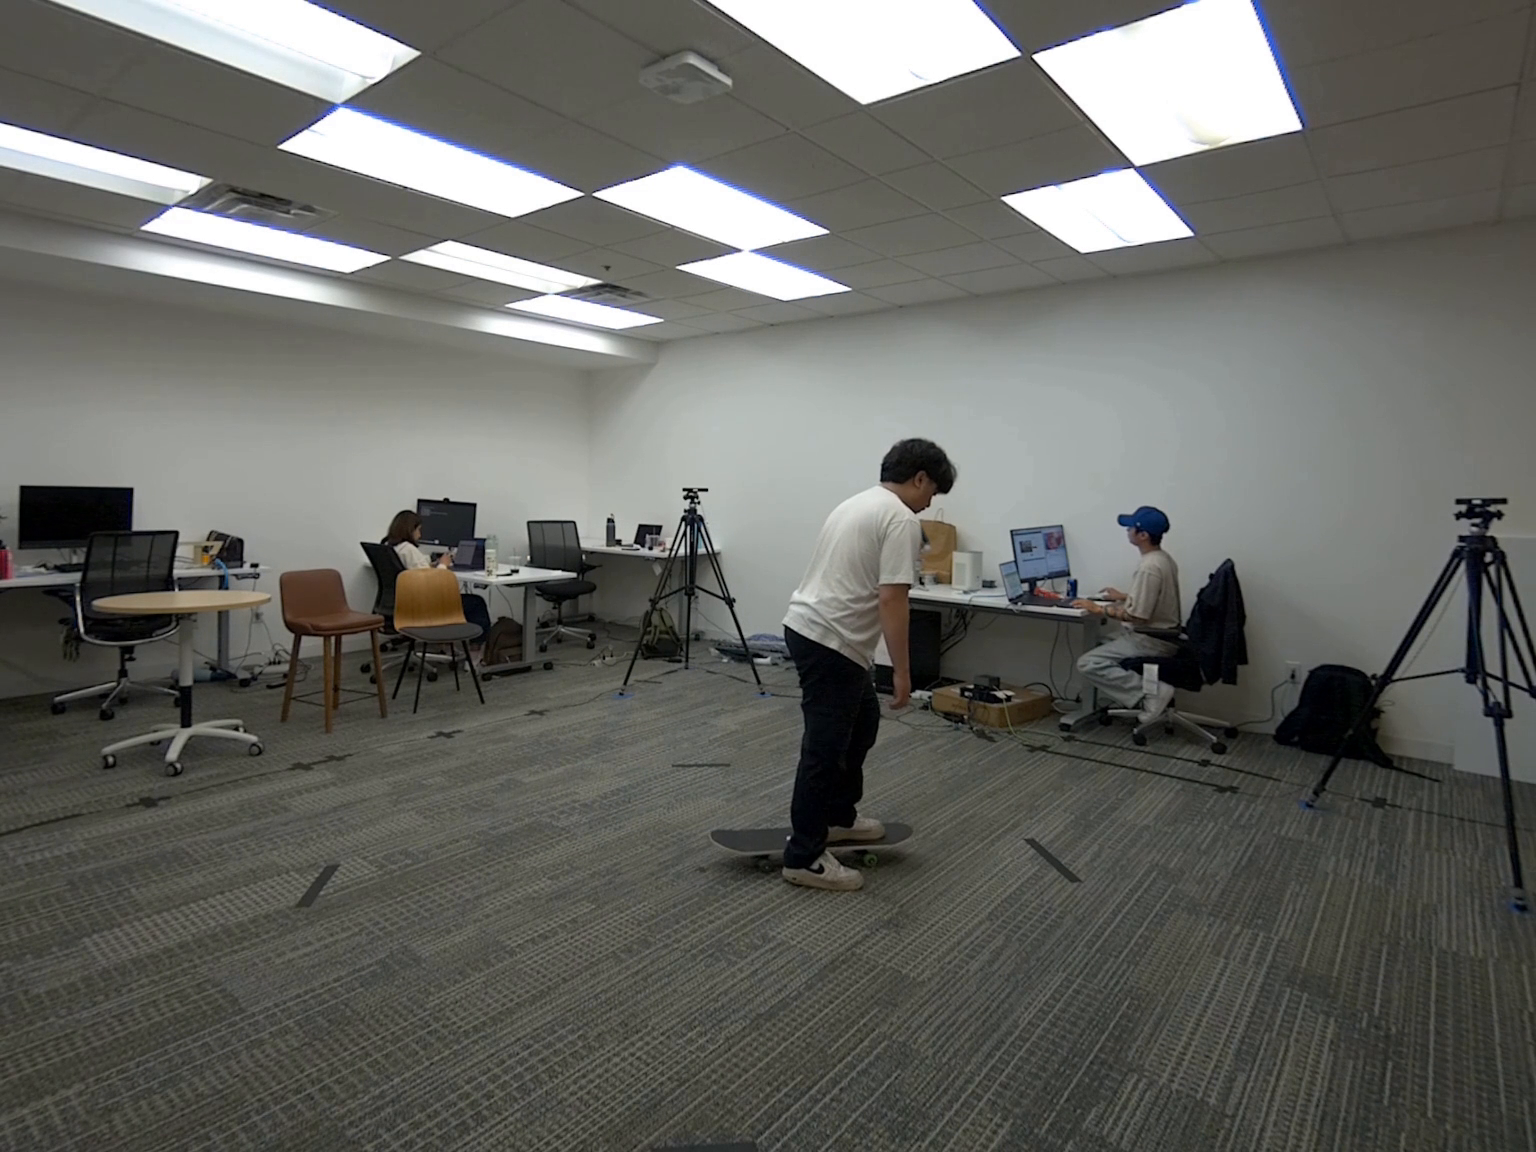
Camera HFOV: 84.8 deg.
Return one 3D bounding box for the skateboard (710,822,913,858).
[{"bbox_3d":[0.154,1.008,3.206,0.777,0.110,0.196,-1,5,-10],"label":"skateboard"}]
